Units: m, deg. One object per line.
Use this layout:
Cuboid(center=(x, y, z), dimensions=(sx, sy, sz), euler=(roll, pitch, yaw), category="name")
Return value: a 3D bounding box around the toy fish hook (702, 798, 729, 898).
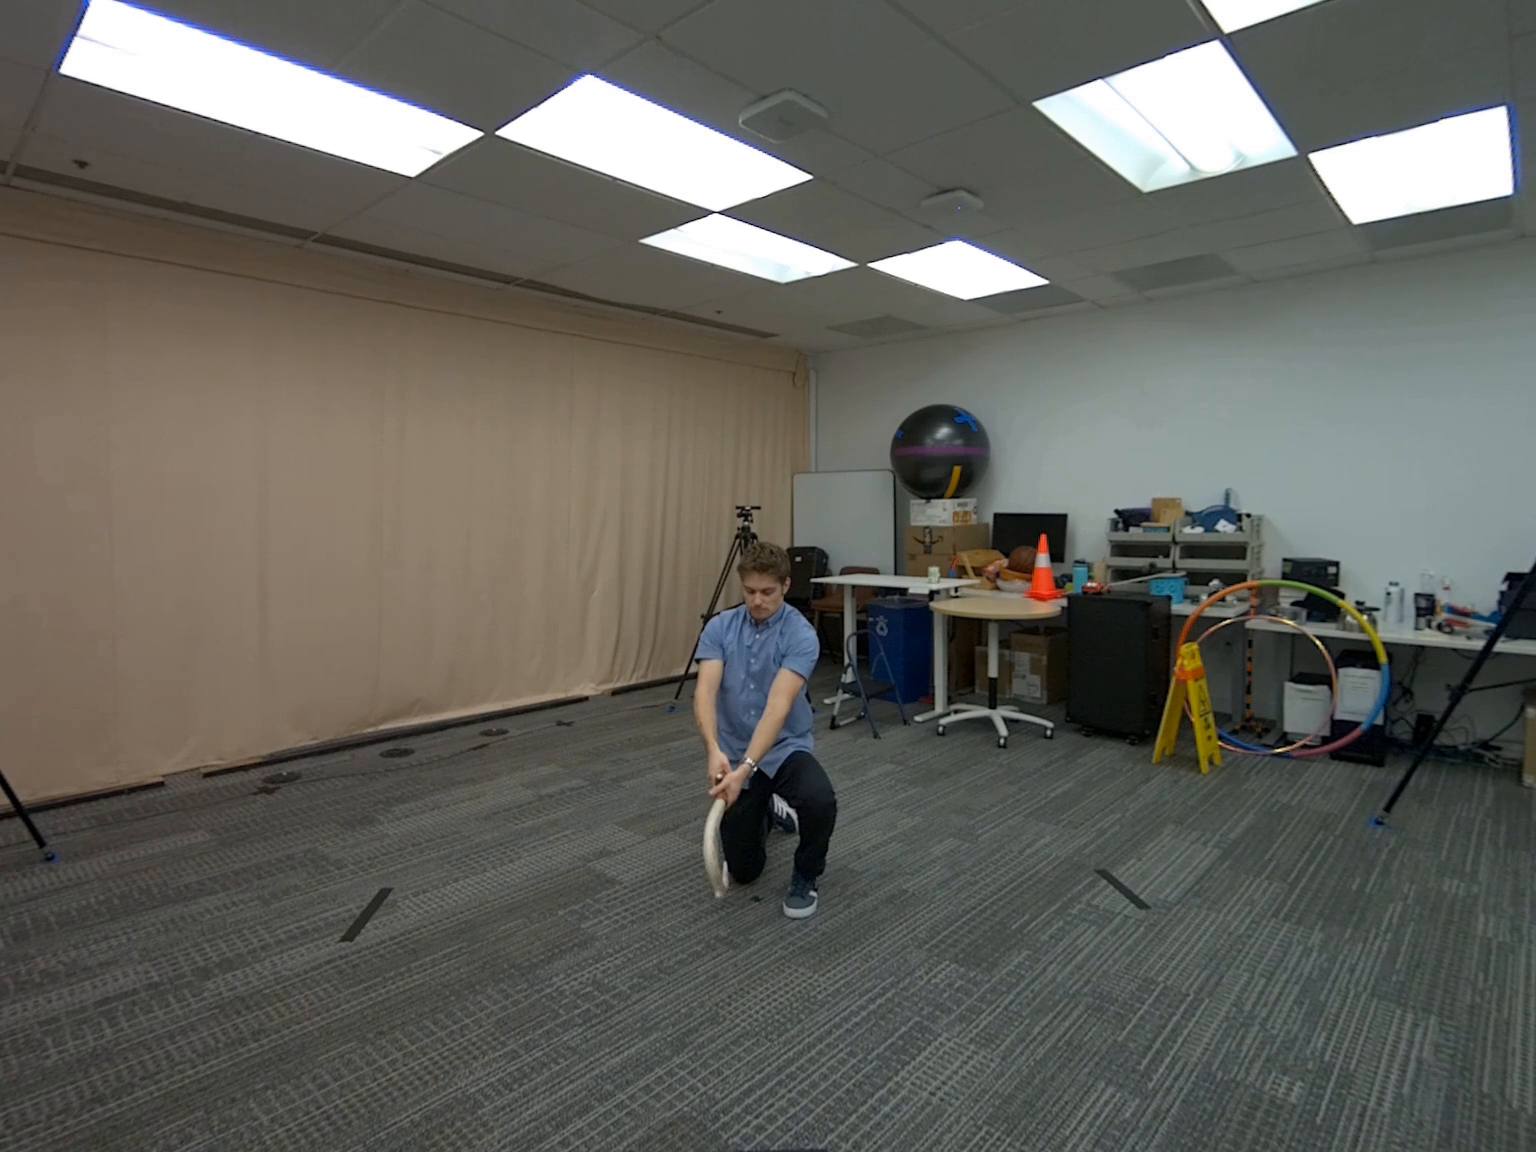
Cuboid(center=(-0.146, 0.761, 2.589), dimensions=(0.048, 0.221, 0.510), euler=(-3, 20, 4), category="toy fish hook")
